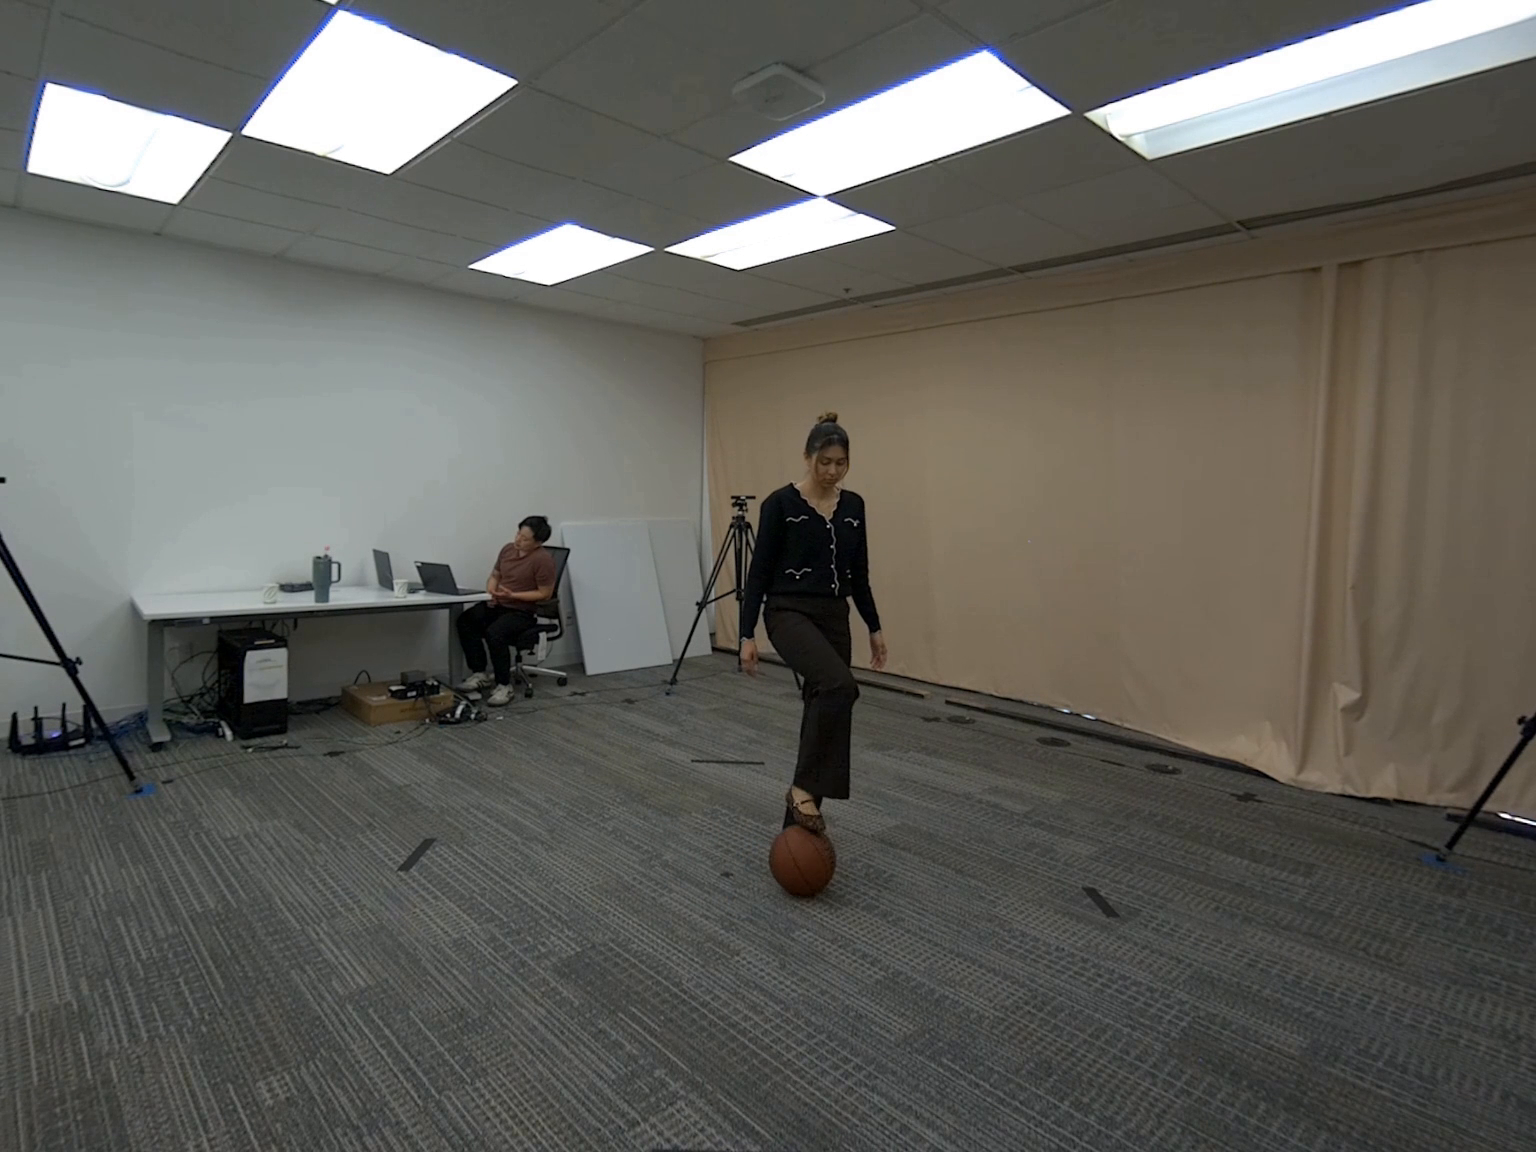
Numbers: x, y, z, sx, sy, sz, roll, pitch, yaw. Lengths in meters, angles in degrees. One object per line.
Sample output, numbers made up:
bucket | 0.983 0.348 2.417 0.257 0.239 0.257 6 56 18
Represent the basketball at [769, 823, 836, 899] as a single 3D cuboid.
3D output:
basketball | 0.110 1.004 2.964 0.236 0.235 0.237 1 4 -1
